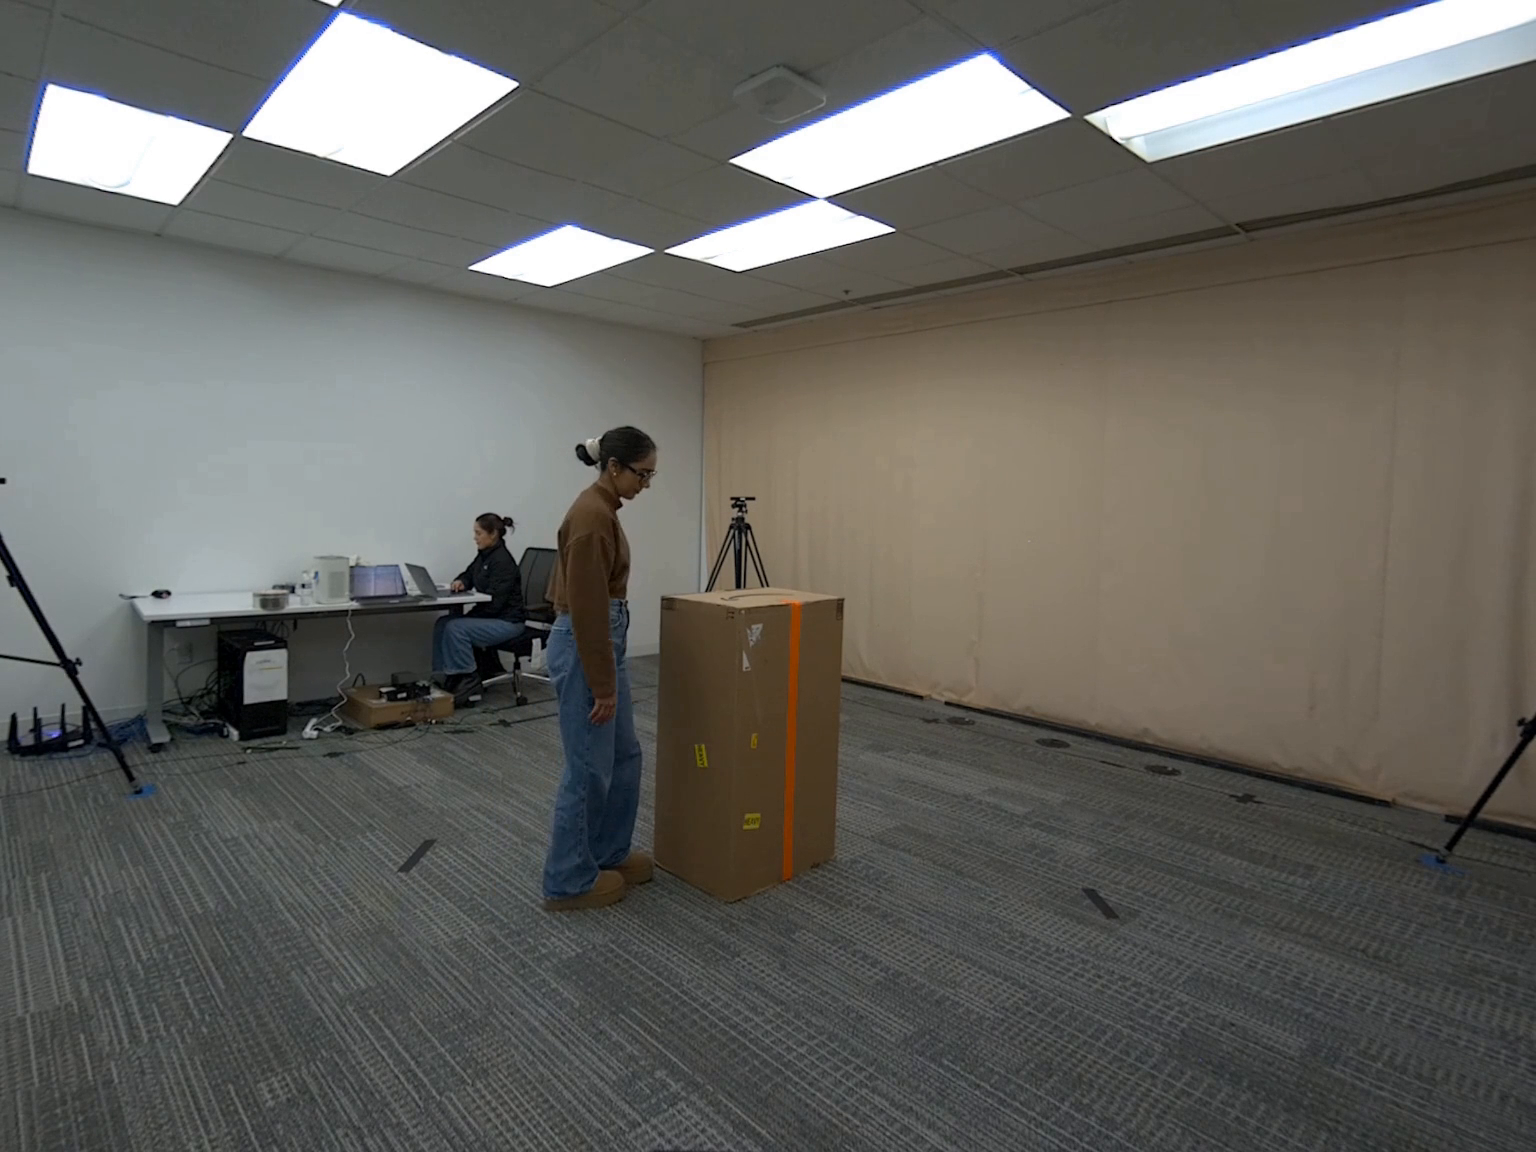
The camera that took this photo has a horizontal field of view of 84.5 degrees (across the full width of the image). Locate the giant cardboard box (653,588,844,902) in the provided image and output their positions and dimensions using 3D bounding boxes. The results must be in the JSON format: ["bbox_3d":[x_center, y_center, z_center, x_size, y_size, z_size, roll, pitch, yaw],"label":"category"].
[{"bbox_3d":[-0.071,0.592,3.208,0.458,1.025,0.570,4,4,43],"label":"giant cardboard box"}]
